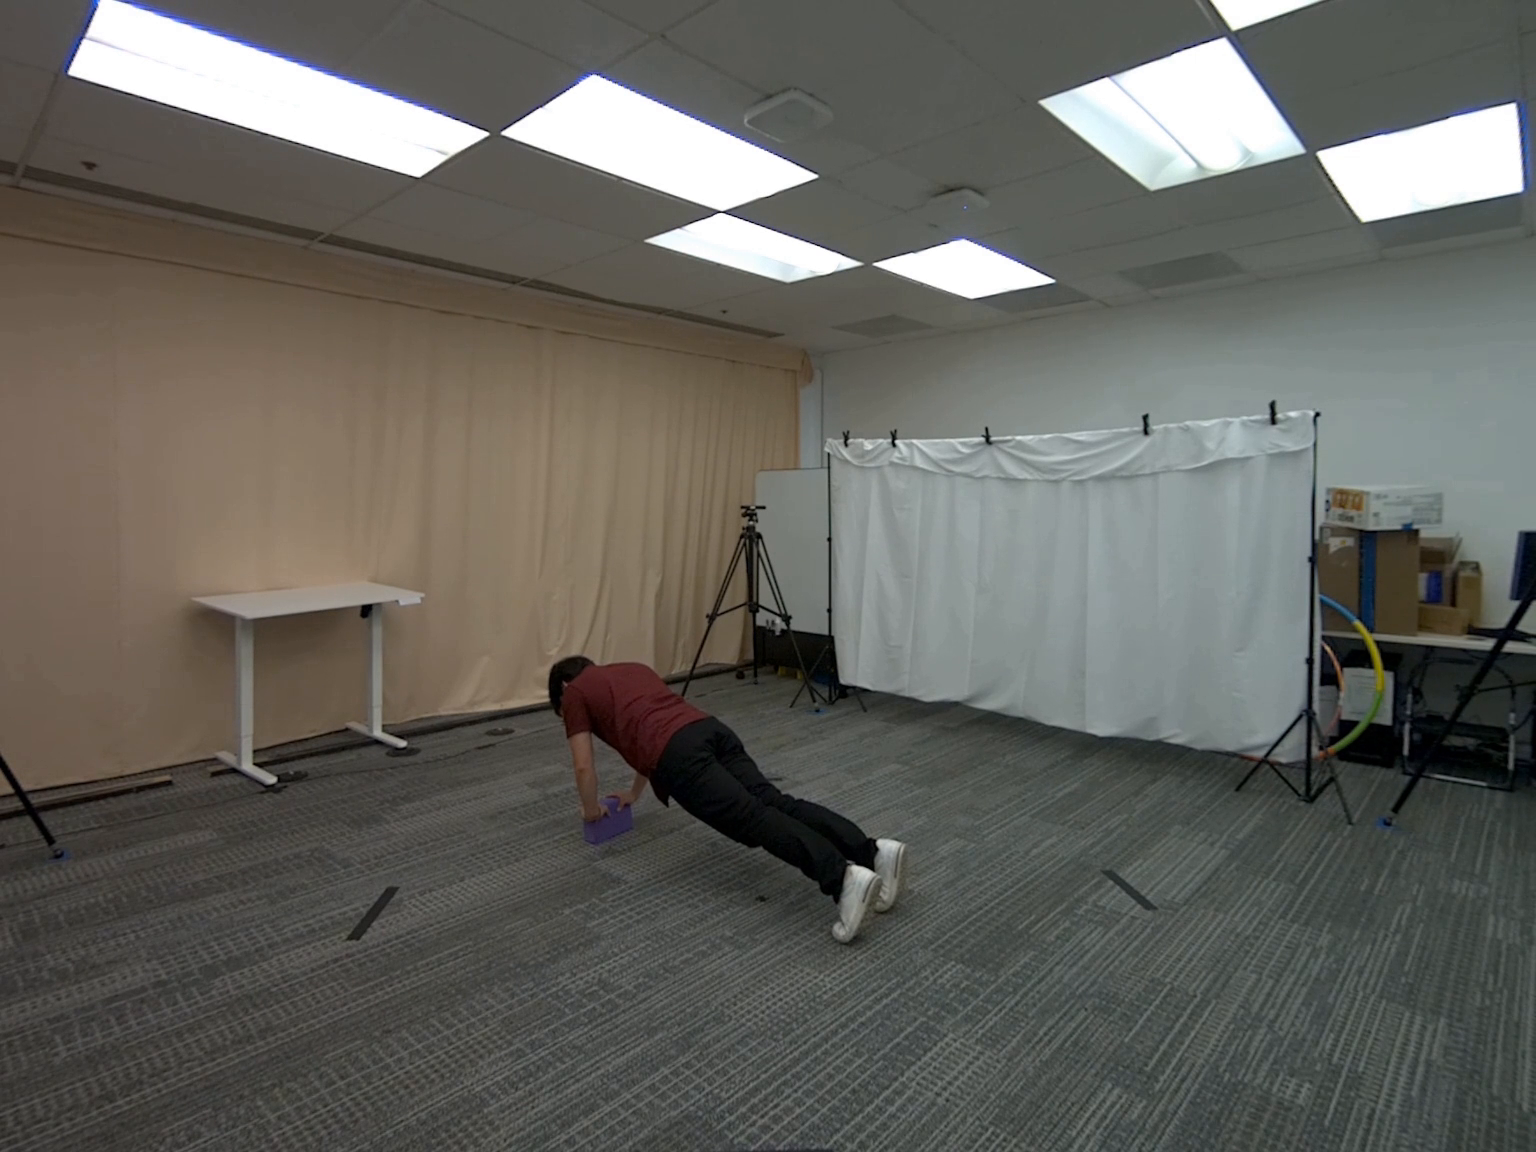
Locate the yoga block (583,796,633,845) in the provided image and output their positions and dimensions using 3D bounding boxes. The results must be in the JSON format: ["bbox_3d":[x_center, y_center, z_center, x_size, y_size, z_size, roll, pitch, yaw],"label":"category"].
[{"bbox_3d":[-0.683,1.032,3.579,0.079,0.149,0.223,-4,1,35],"label":"yoga block"}]
